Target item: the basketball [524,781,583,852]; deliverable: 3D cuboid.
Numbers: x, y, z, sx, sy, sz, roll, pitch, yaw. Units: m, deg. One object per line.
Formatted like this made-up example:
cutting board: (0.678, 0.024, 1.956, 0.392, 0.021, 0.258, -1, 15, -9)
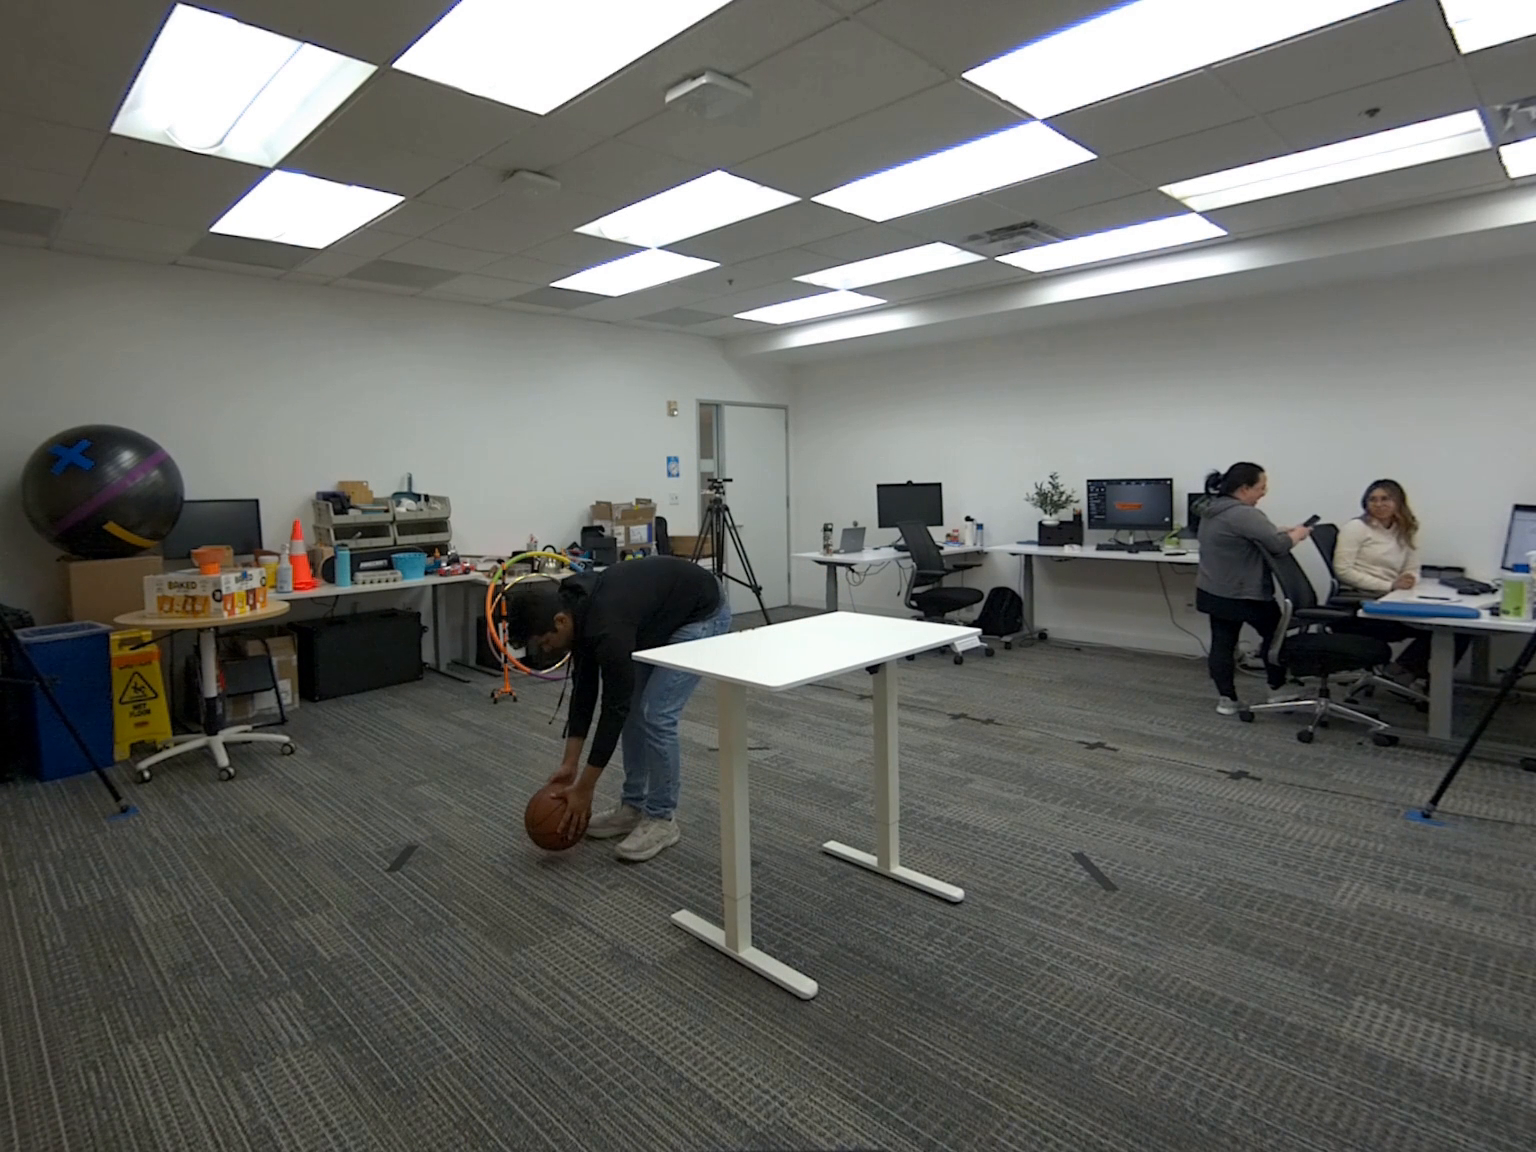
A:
basketball: (-0.776, 0.868, 3.166, 0.236, 0.235, 0.237, -1, 5, -2)
